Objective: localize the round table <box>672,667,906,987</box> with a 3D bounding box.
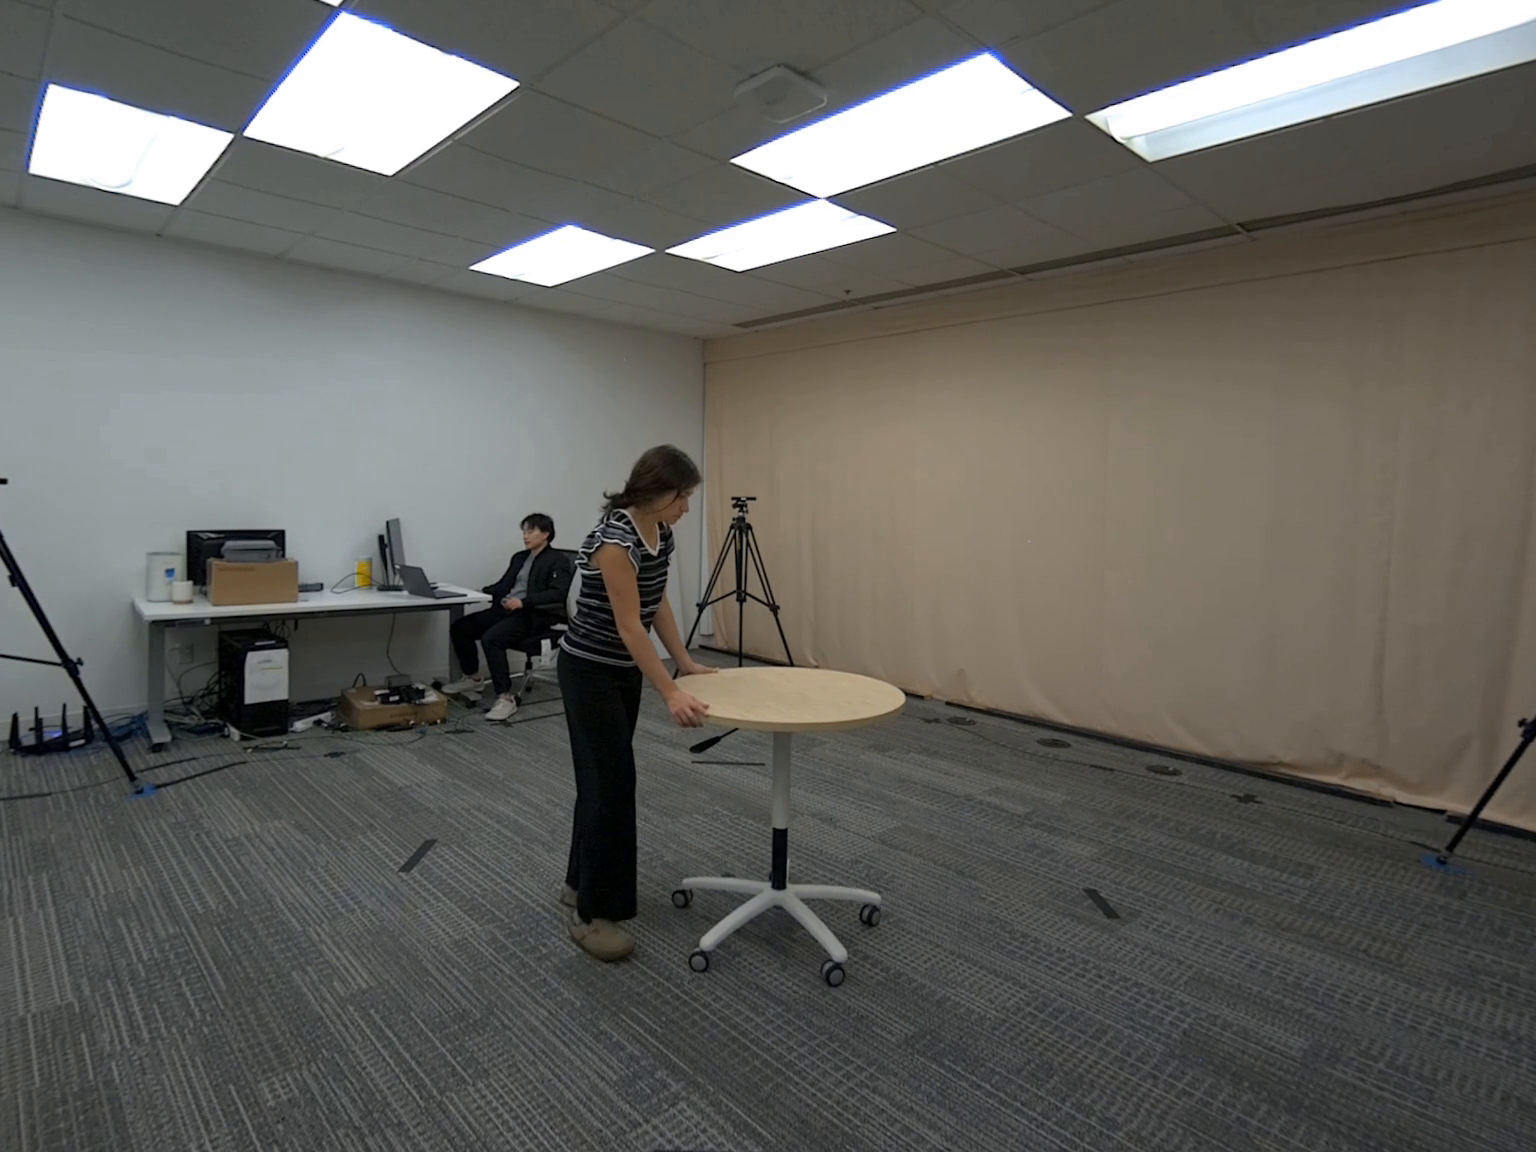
[{"bbox_3d":[0.035,0.759,2.705,0.763,0.792,0.767,1,4,-1],"label":"round table"}]
